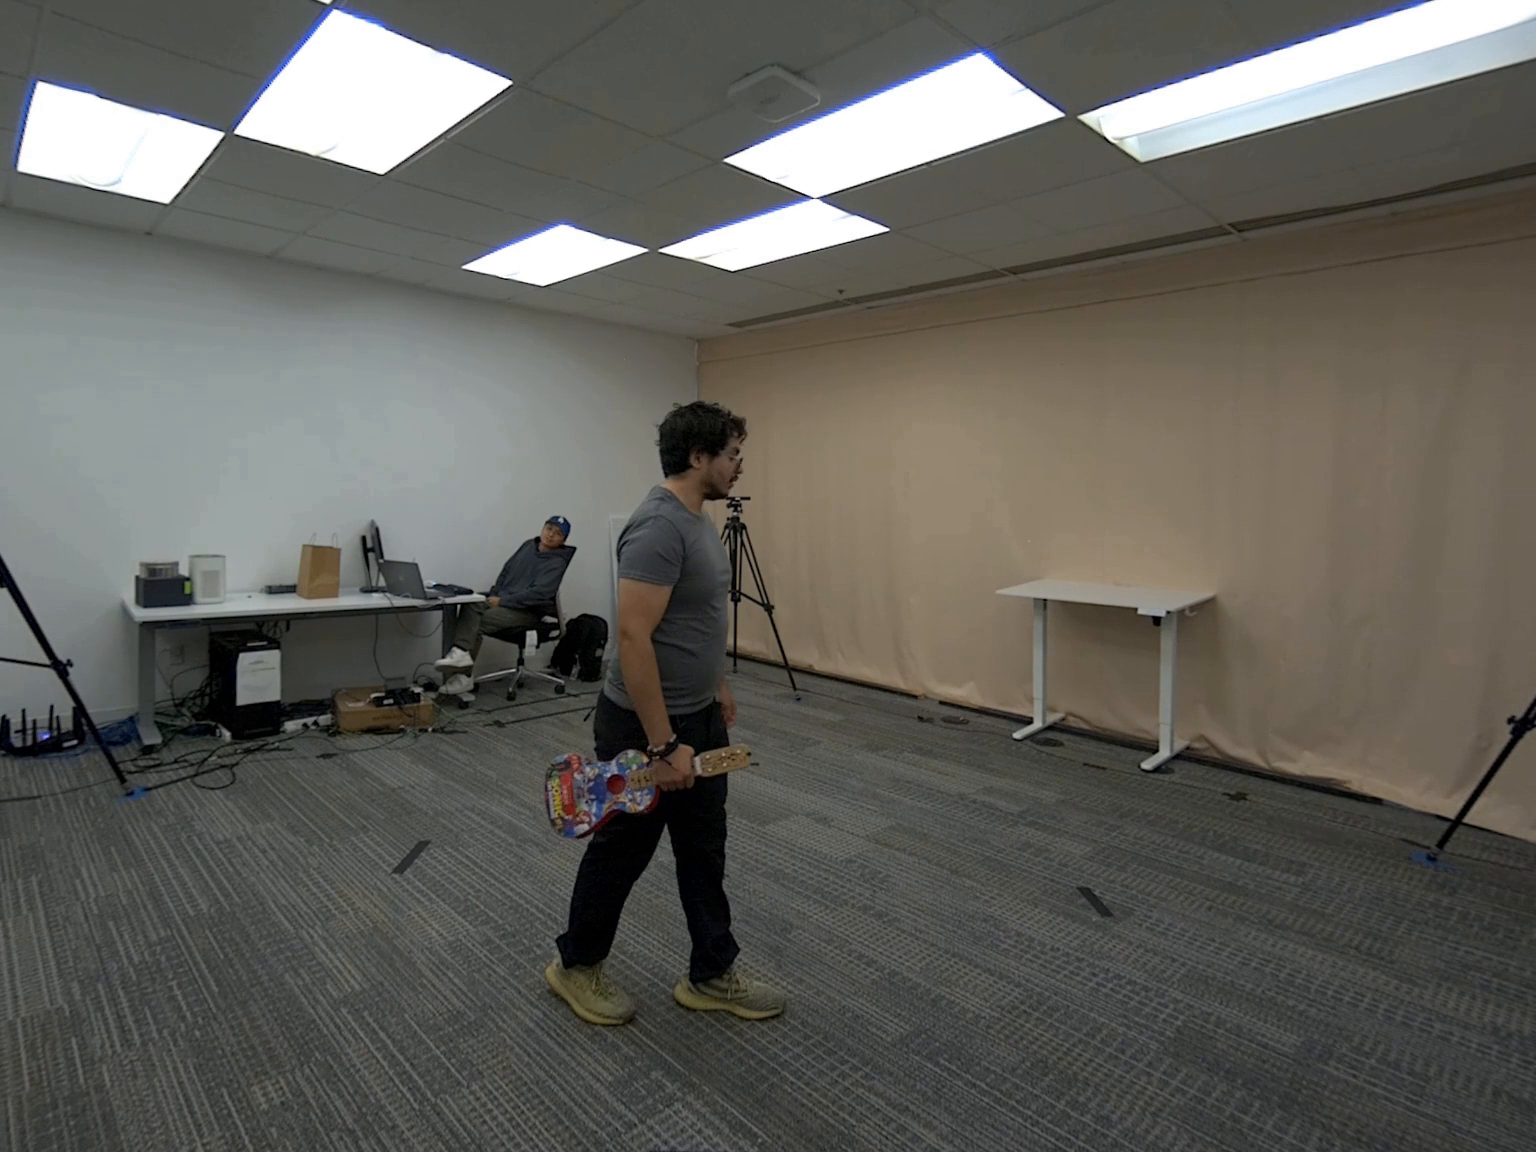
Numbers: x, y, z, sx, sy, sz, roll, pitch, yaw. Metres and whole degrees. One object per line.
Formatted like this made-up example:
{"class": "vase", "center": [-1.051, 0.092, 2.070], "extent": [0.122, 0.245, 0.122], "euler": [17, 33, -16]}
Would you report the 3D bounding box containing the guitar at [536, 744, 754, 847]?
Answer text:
{"class": "guitar", "center": [-0.291, 0.516, 1.995], "extent": [0.499, 0.196, 0.069], "euler": [-5, -19, 3]}
